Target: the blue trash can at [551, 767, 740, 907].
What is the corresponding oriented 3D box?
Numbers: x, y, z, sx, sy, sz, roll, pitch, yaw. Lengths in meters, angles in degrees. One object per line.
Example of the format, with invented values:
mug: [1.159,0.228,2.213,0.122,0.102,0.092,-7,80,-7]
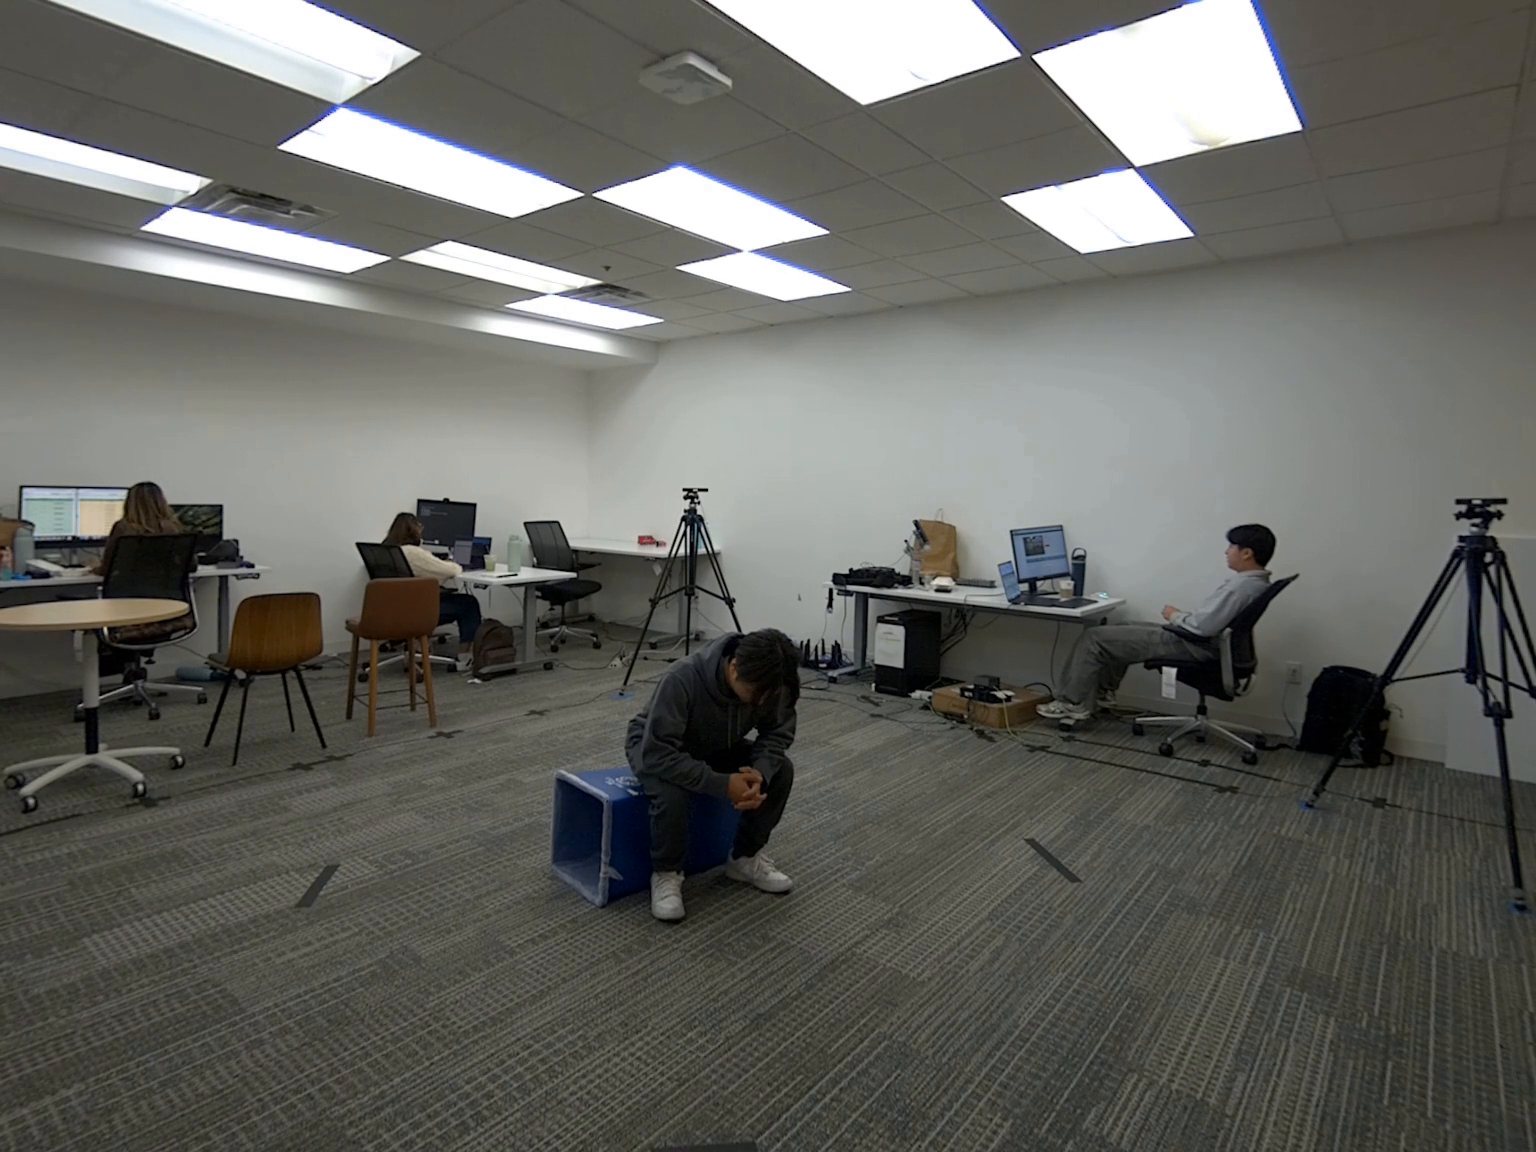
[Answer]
blue trash can: [-0.414,0.893,3.156,0.691,0.378,0.387,1,3,-41]
